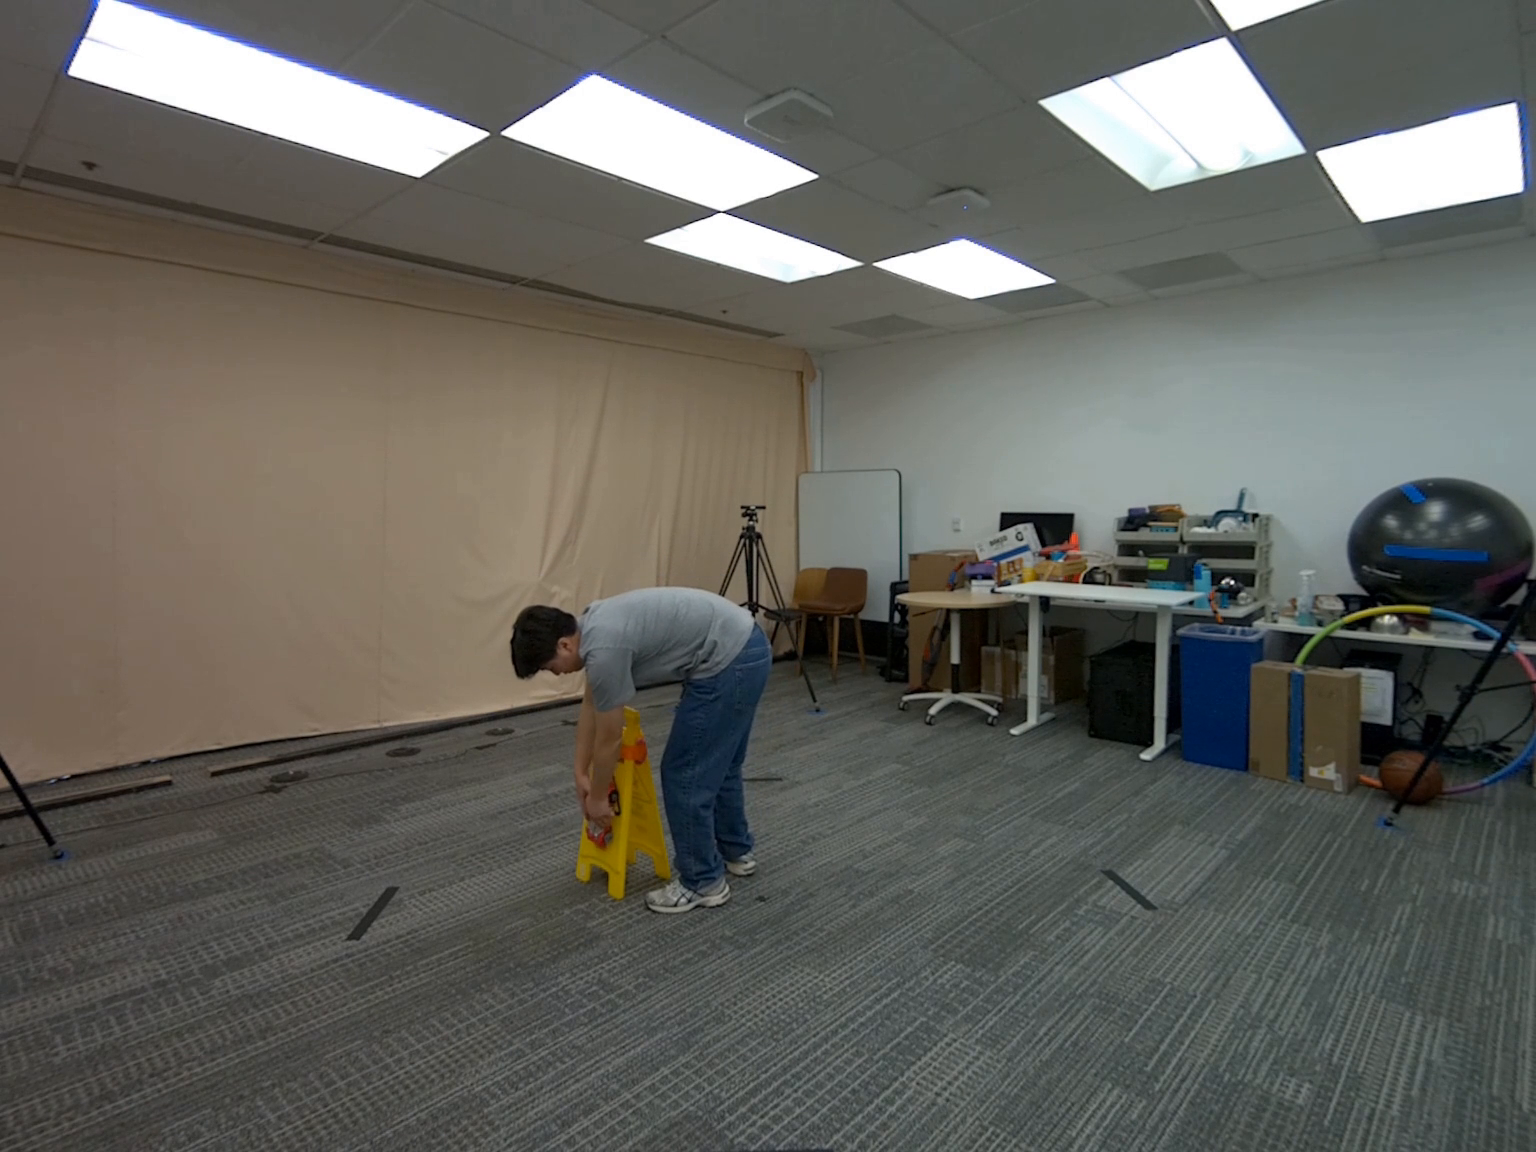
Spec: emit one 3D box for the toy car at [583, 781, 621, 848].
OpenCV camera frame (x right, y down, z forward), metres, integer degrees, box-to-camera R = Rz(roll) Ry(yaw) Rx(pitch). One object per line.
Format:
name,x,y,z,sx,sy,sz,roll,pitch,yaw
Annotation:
toy car,-0.604,0.844,3.078,0.081,0.254,0.135,-5,7,-43
